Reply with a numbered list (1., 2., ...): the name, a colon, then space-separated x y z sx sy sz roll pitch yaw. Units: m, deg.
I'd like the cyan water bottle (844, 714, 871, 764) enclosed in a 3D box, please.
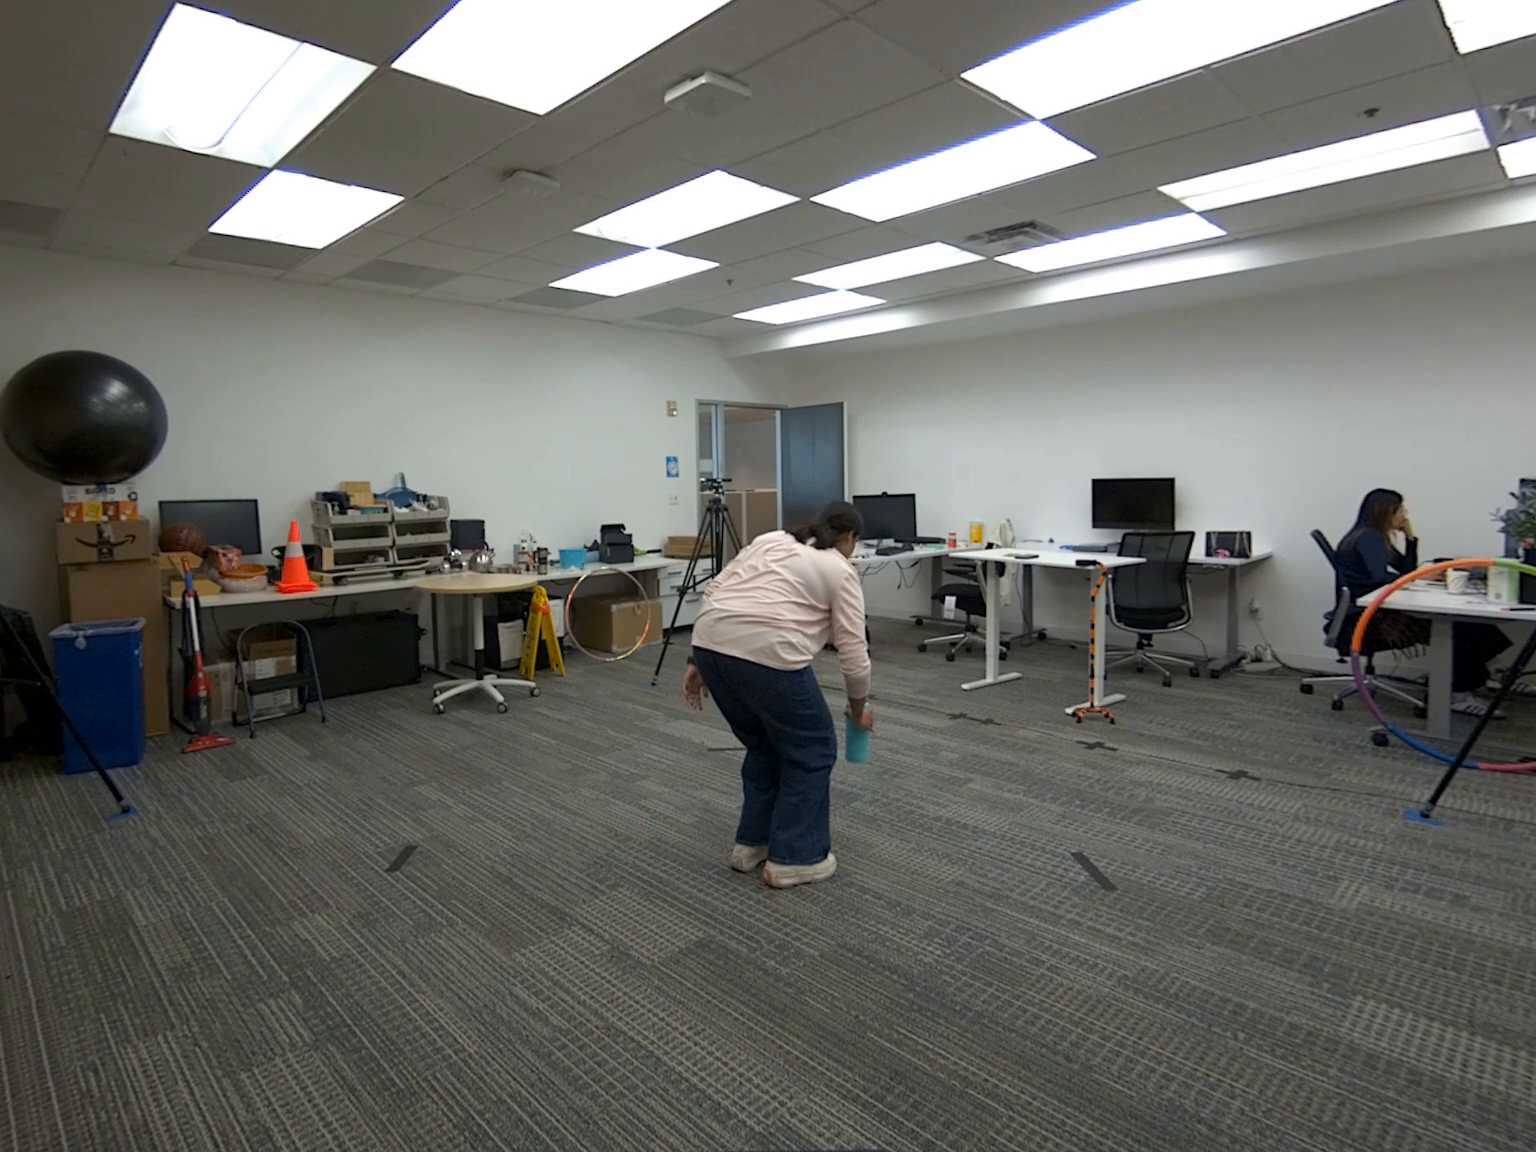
1. cyan water bottle: 0.342 0.565 3.276 0.092 0.283 0.092 3 1 -2
